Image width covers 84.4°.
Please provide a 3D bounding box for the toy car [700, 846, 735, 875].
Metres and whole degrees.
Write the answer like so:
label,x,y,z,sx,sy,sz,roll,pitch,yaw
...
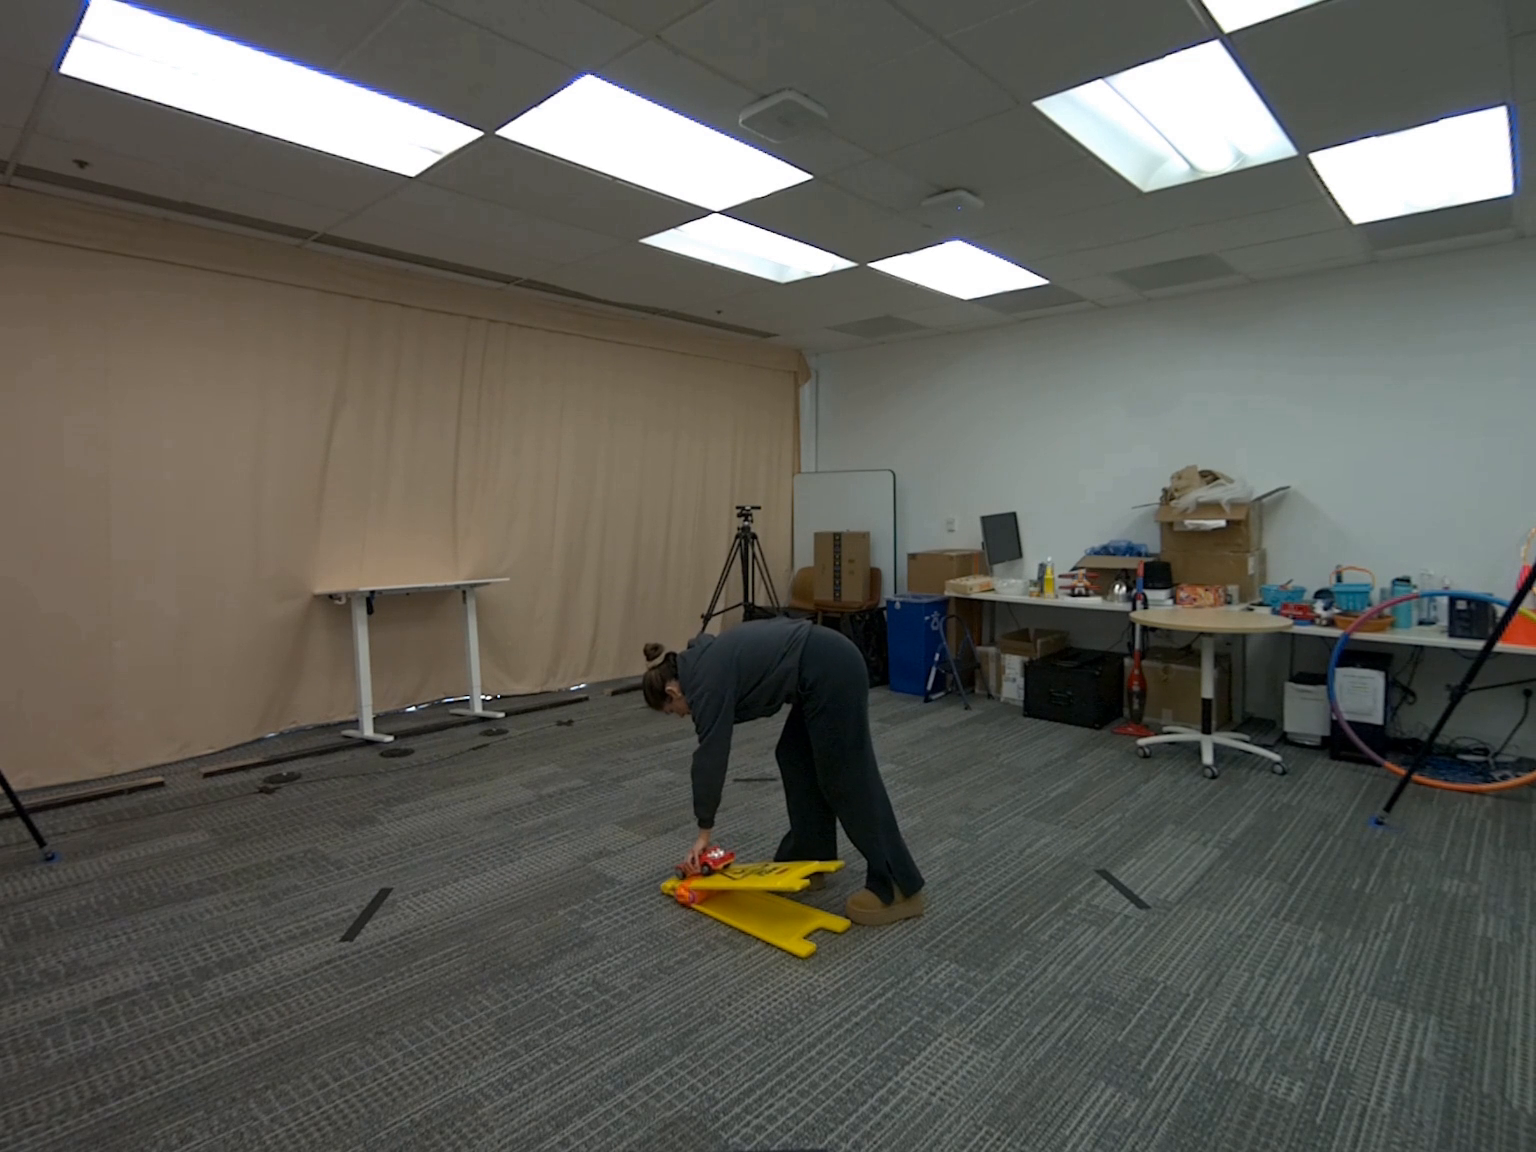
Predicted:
label,x,y,z,sx,sy,sz,roll,pitch,yaw
toy car,-0.199,1.041,3.031,0.126,0.085,0.258,-3,-28,-49
